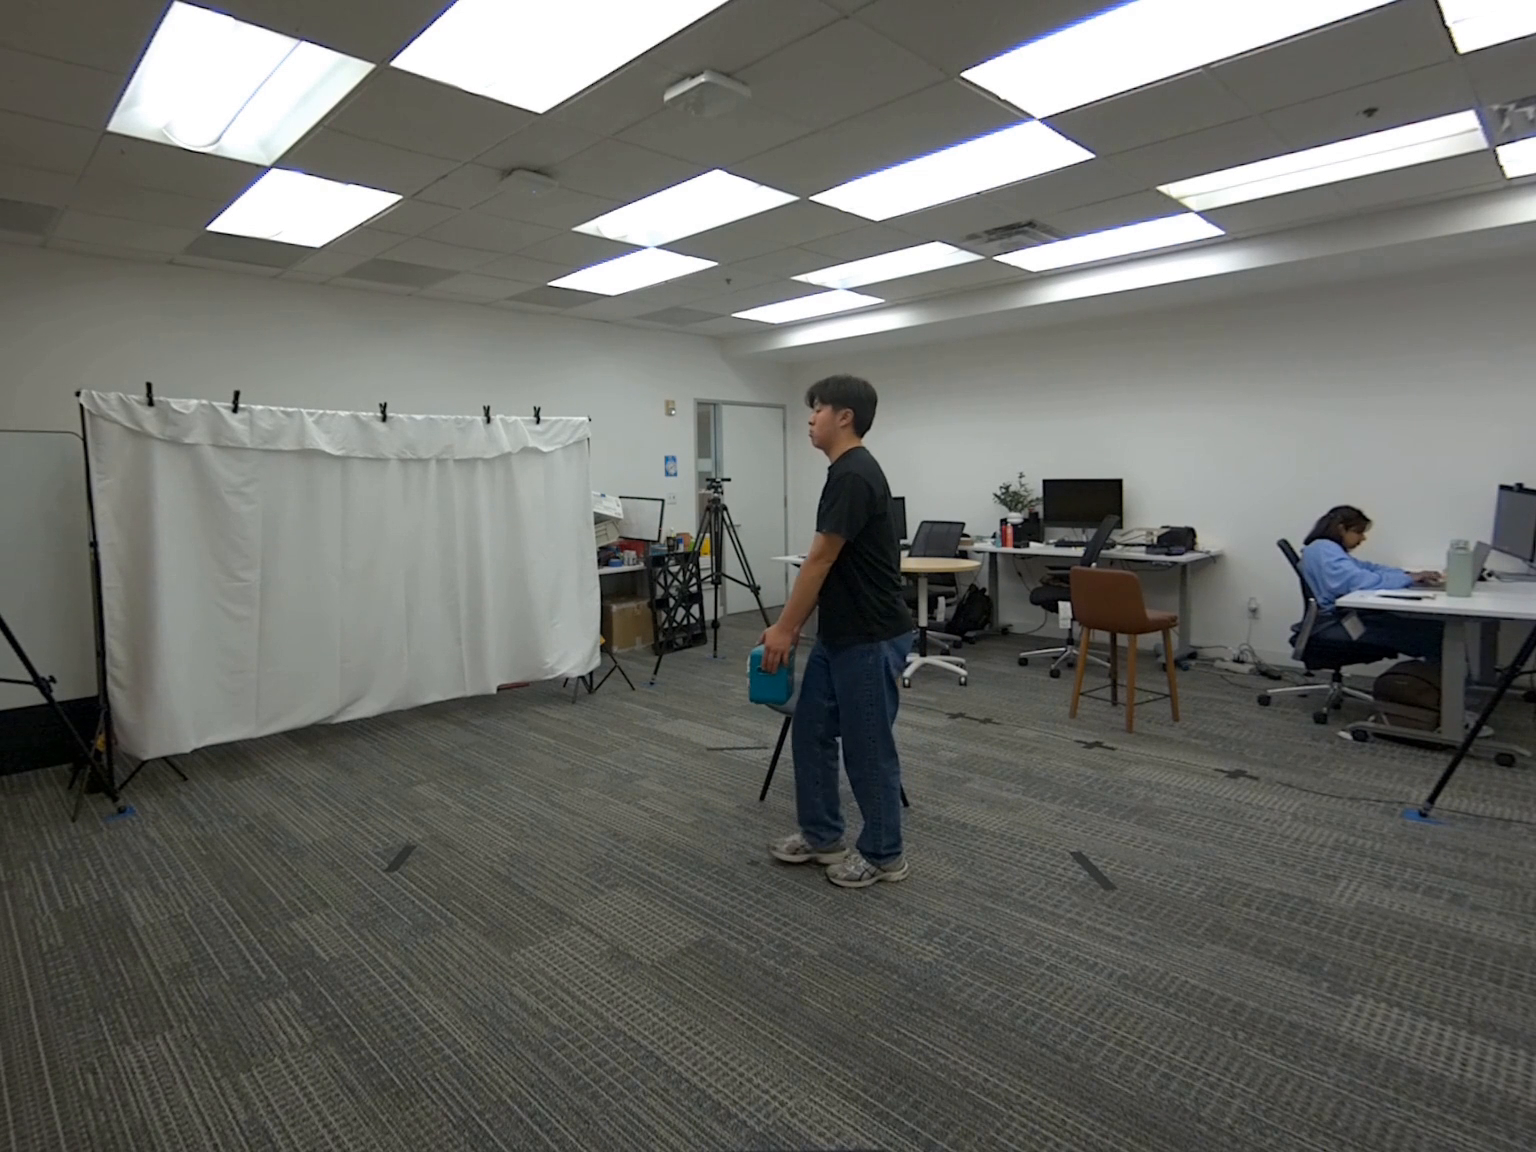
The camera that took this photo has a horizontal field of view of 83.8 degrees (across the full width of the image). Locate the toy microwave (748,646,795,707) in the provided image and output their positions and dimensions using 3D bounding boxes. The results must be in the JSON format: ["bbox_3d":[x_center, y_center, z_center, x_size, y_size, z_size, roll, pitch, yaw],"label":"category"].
[{"bbox_3d":[0.008,0.338,2.987,0.154,0.184,0.283,1,1,9],"label":"toy microwave"}]
